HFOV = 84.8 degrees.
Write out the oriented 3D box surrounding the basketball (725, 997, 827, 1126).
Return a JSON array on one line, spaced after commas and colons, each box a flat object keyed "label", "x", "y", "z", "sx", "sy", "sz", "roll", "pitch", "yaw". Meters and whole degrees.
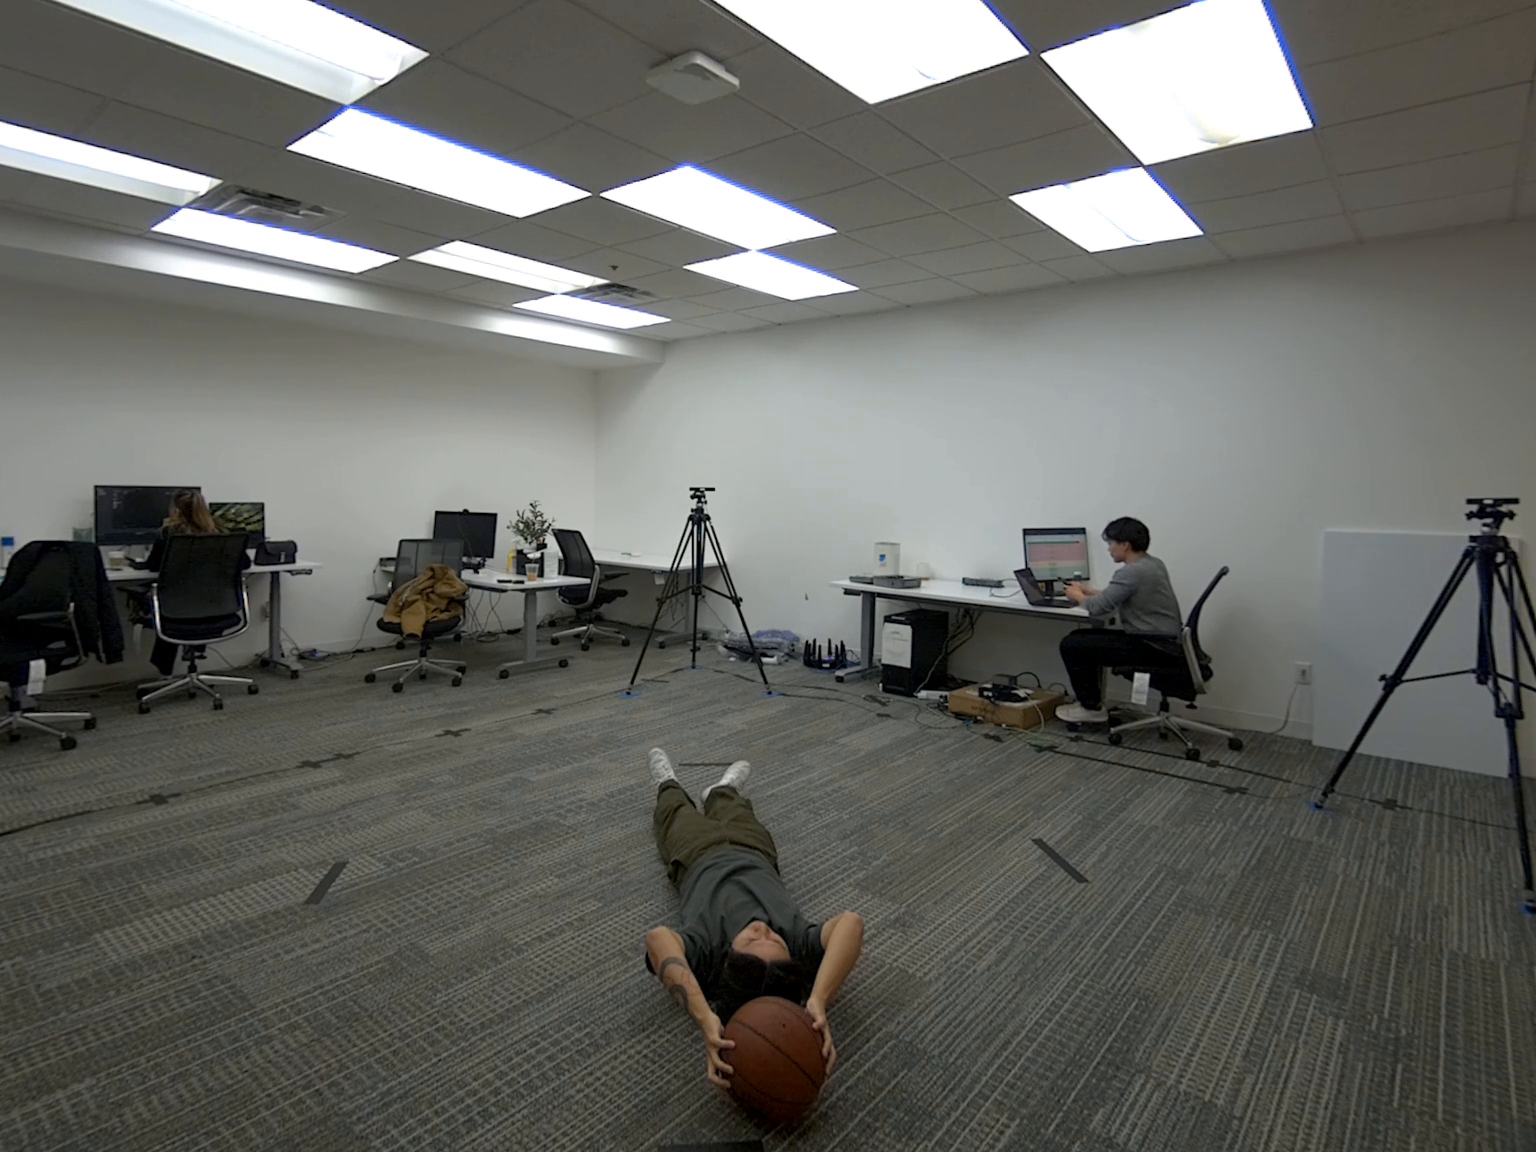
[{"label": "basketball", "x": 0.007, "y": 1.075, "z": 1.897, "sx": 0.235, "sy": 0.235, "sz": 0.237, "roll": 1, "pitch": 4, "yaw": -2}]
